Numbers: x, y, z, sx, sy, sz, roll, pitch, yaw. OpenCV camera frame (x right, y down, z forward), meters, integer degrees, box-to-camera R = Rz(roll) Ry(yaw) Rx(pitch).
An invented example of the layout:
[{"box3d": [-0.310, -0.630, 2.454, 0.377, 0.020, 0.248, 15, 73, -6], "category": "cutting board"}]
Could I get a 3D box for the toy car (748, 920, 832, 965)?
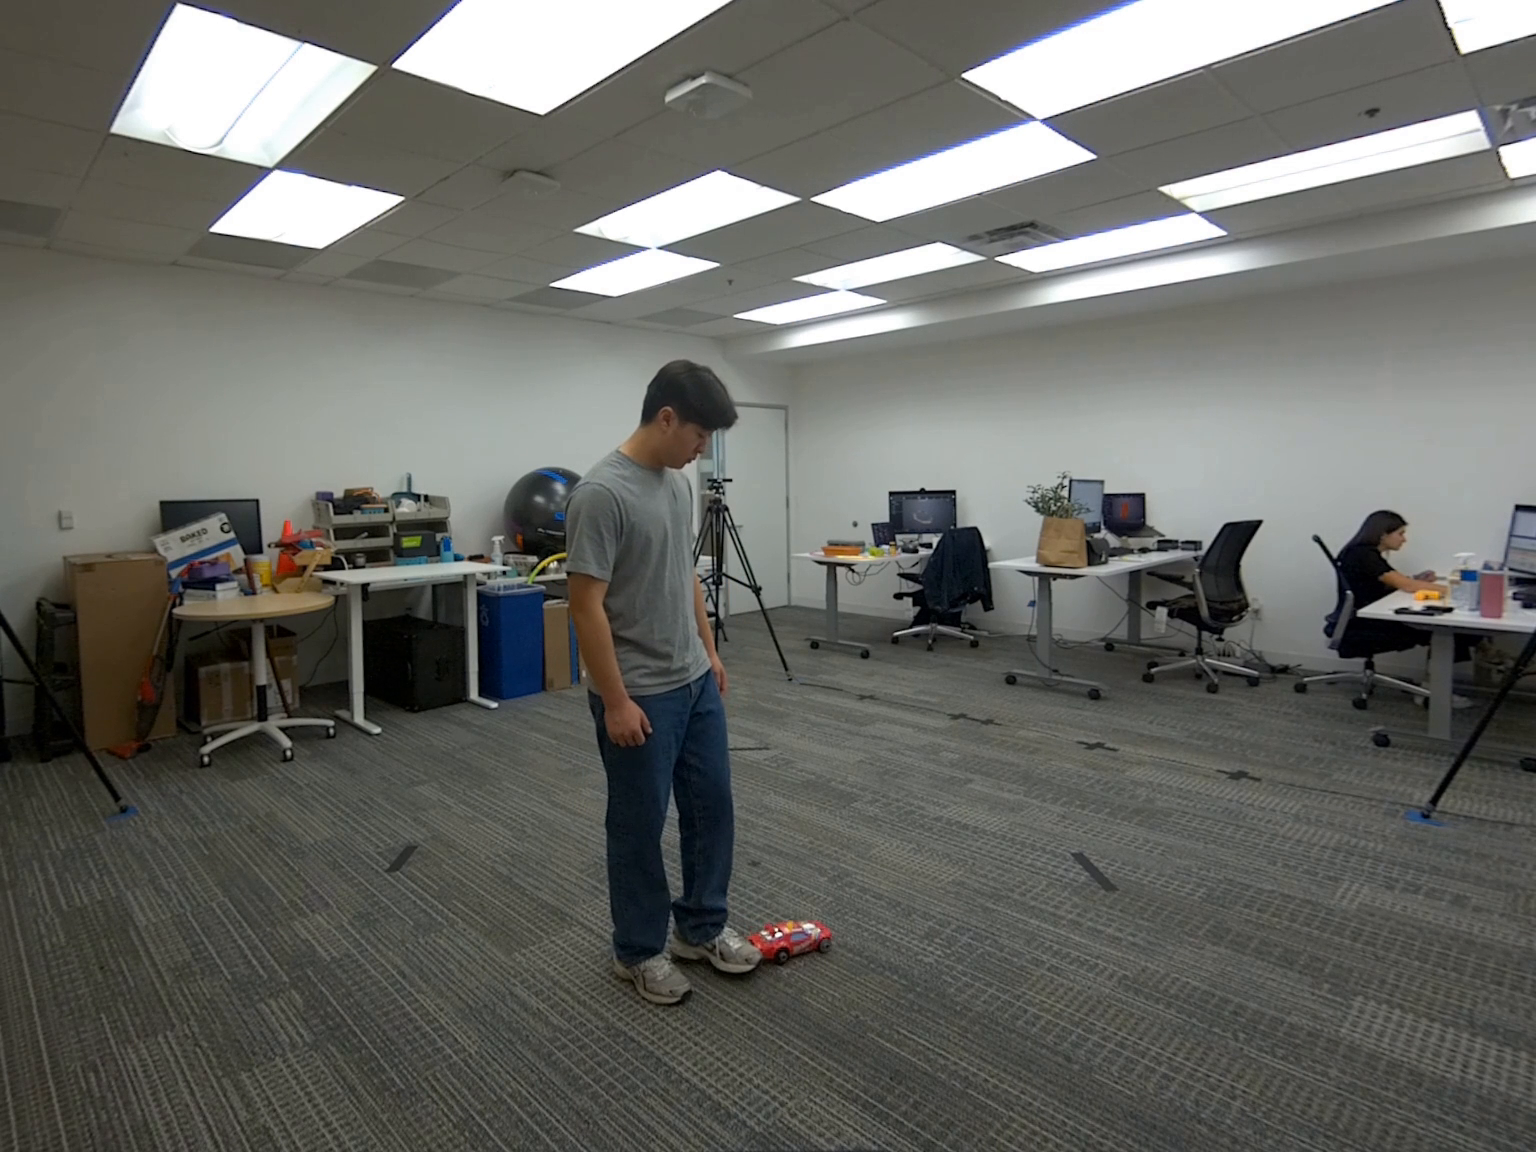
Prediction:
[{"box3d": [0.070, 1.079, 2.523, 0.248, 0.083, 0.134, 9, 1, -26], "category": "toy car"}]
